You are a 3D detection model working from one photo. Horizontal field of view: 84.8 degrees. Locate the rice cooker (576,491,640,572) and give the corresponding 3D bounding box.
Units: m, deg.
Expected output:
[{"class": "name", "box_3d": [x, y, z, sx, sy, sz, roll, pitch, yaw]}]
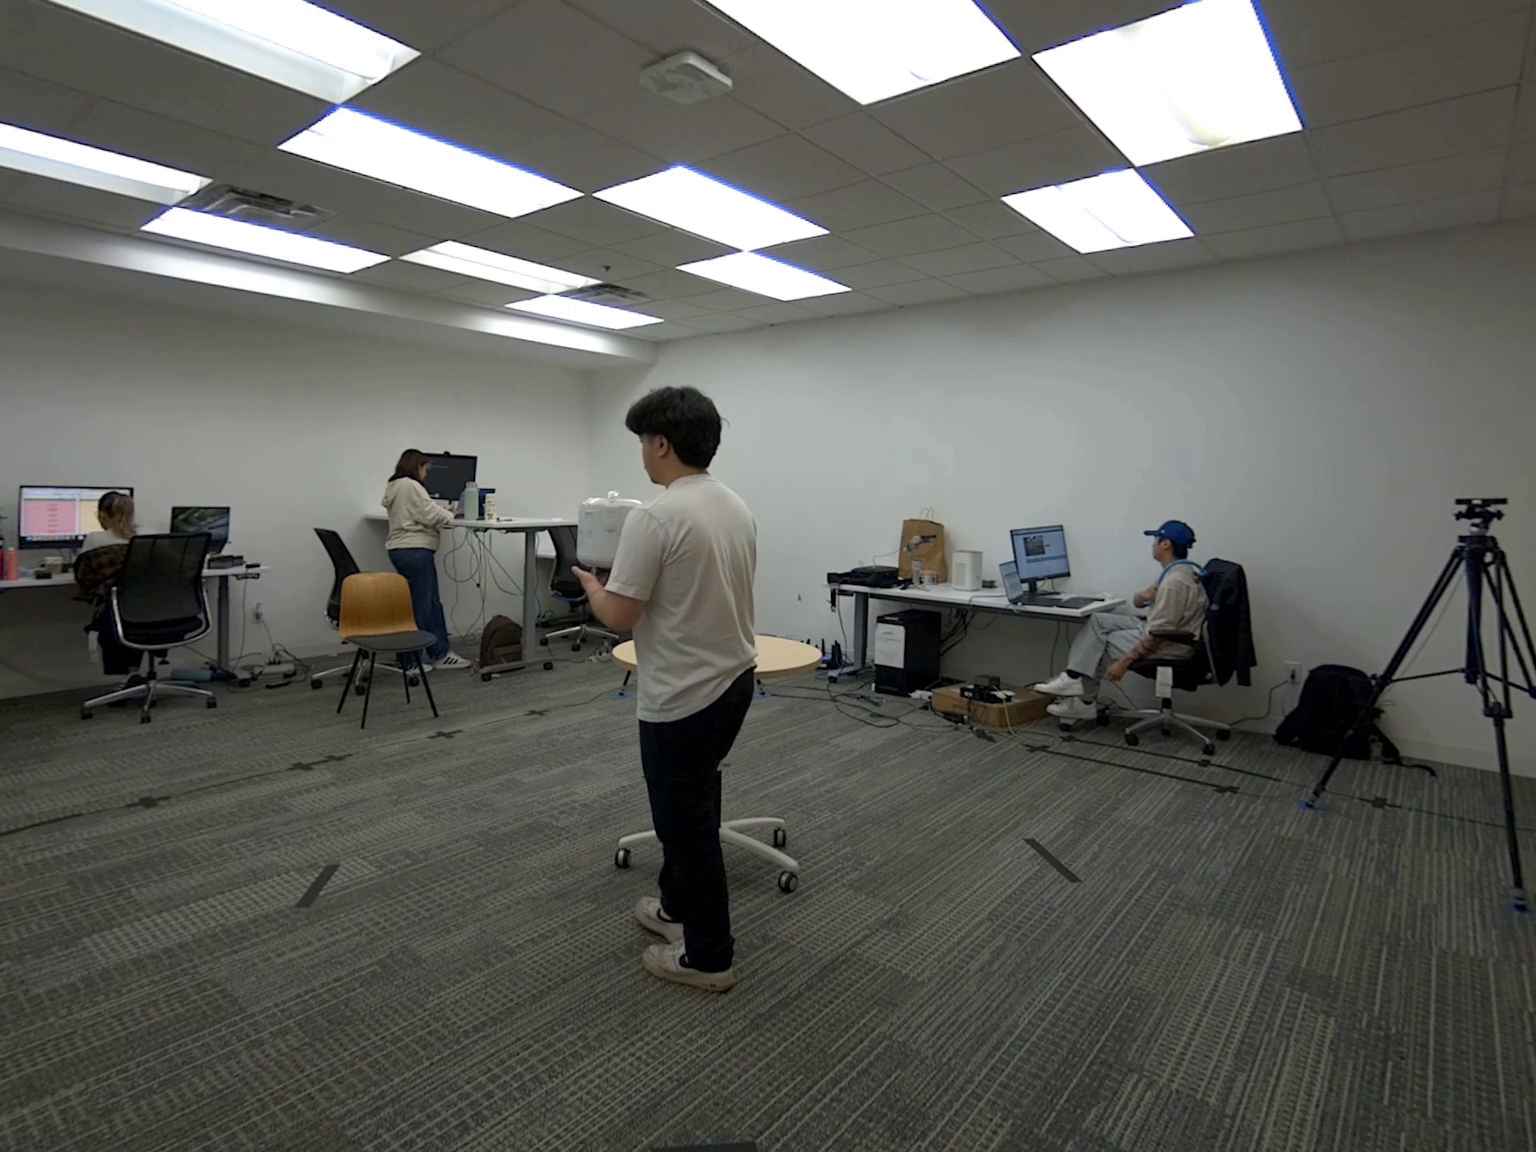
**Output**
[{"class": "rice cooker", "box_3d": [-0.483, -0.142, 2.605, 0.217, 0.232, 0.221, 2, 2, -3]}]
